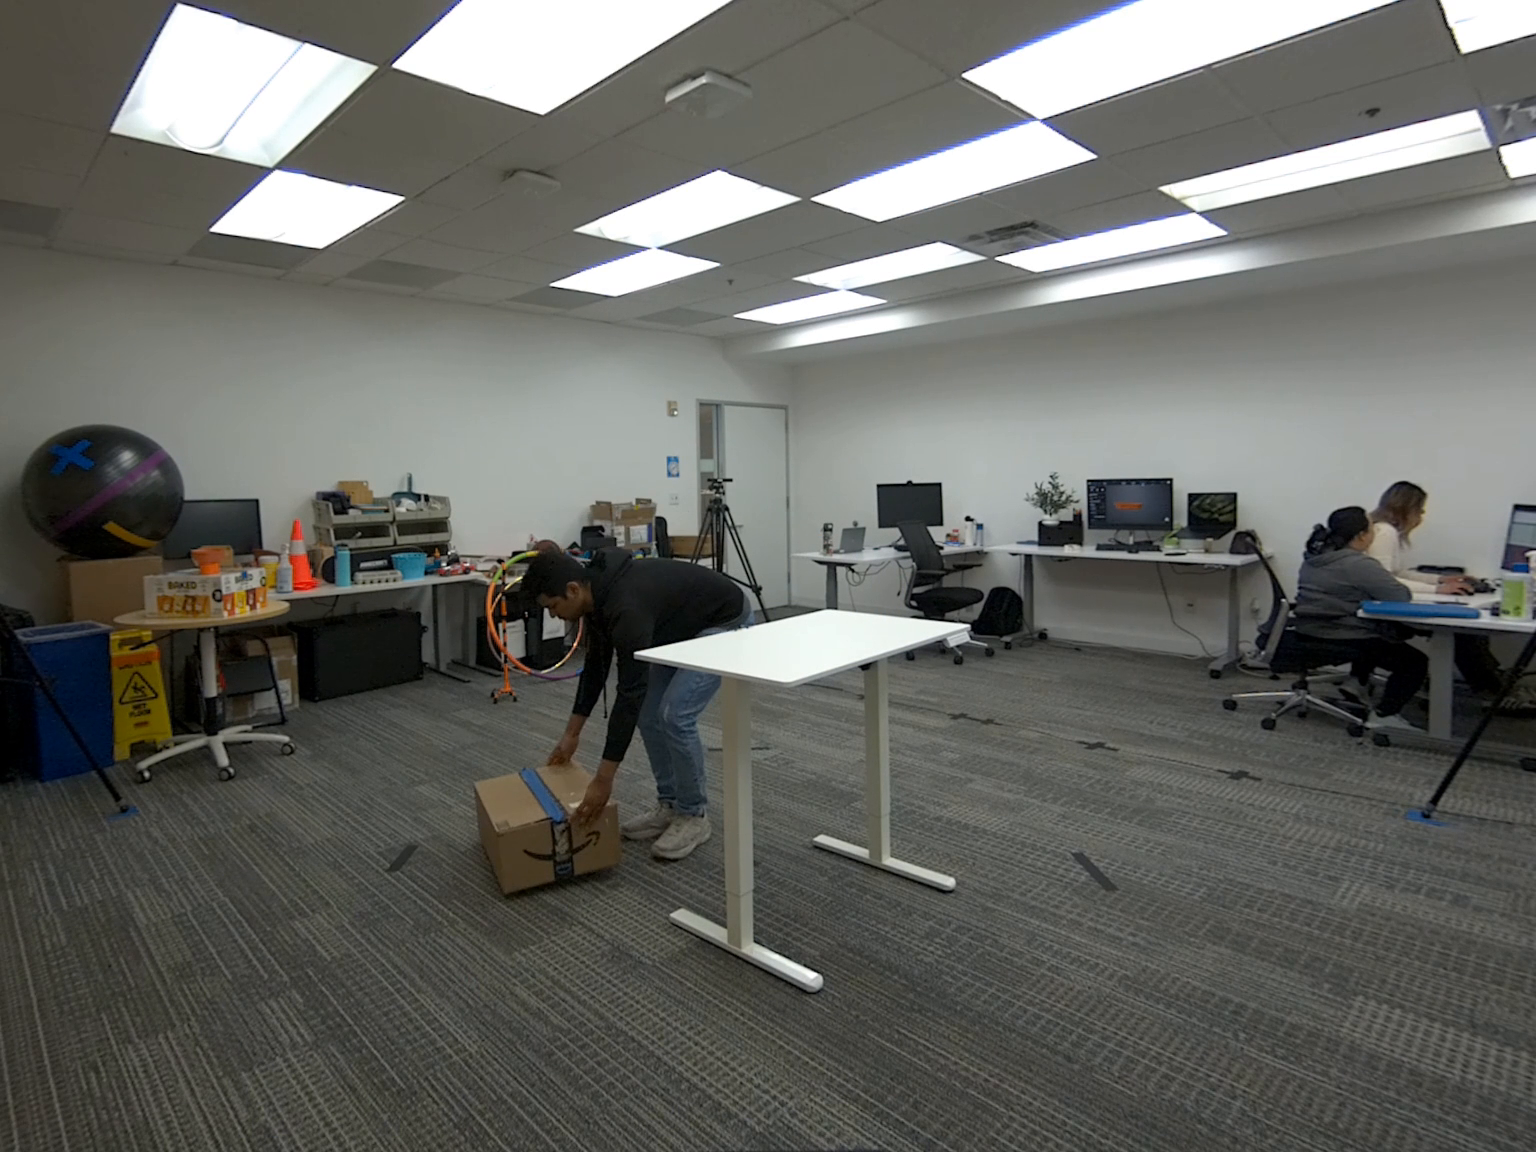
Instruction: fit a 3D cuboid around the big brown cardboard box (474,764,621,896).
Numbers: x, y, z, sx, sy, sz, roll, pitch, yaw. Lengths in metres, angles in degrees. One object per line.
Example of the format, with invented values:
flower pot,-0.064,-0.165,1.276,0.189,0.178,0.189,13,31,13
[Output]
big brown cardboard box,-0.829,0.903,3.167,0.409,0.232,0.603,-7,6,-26
